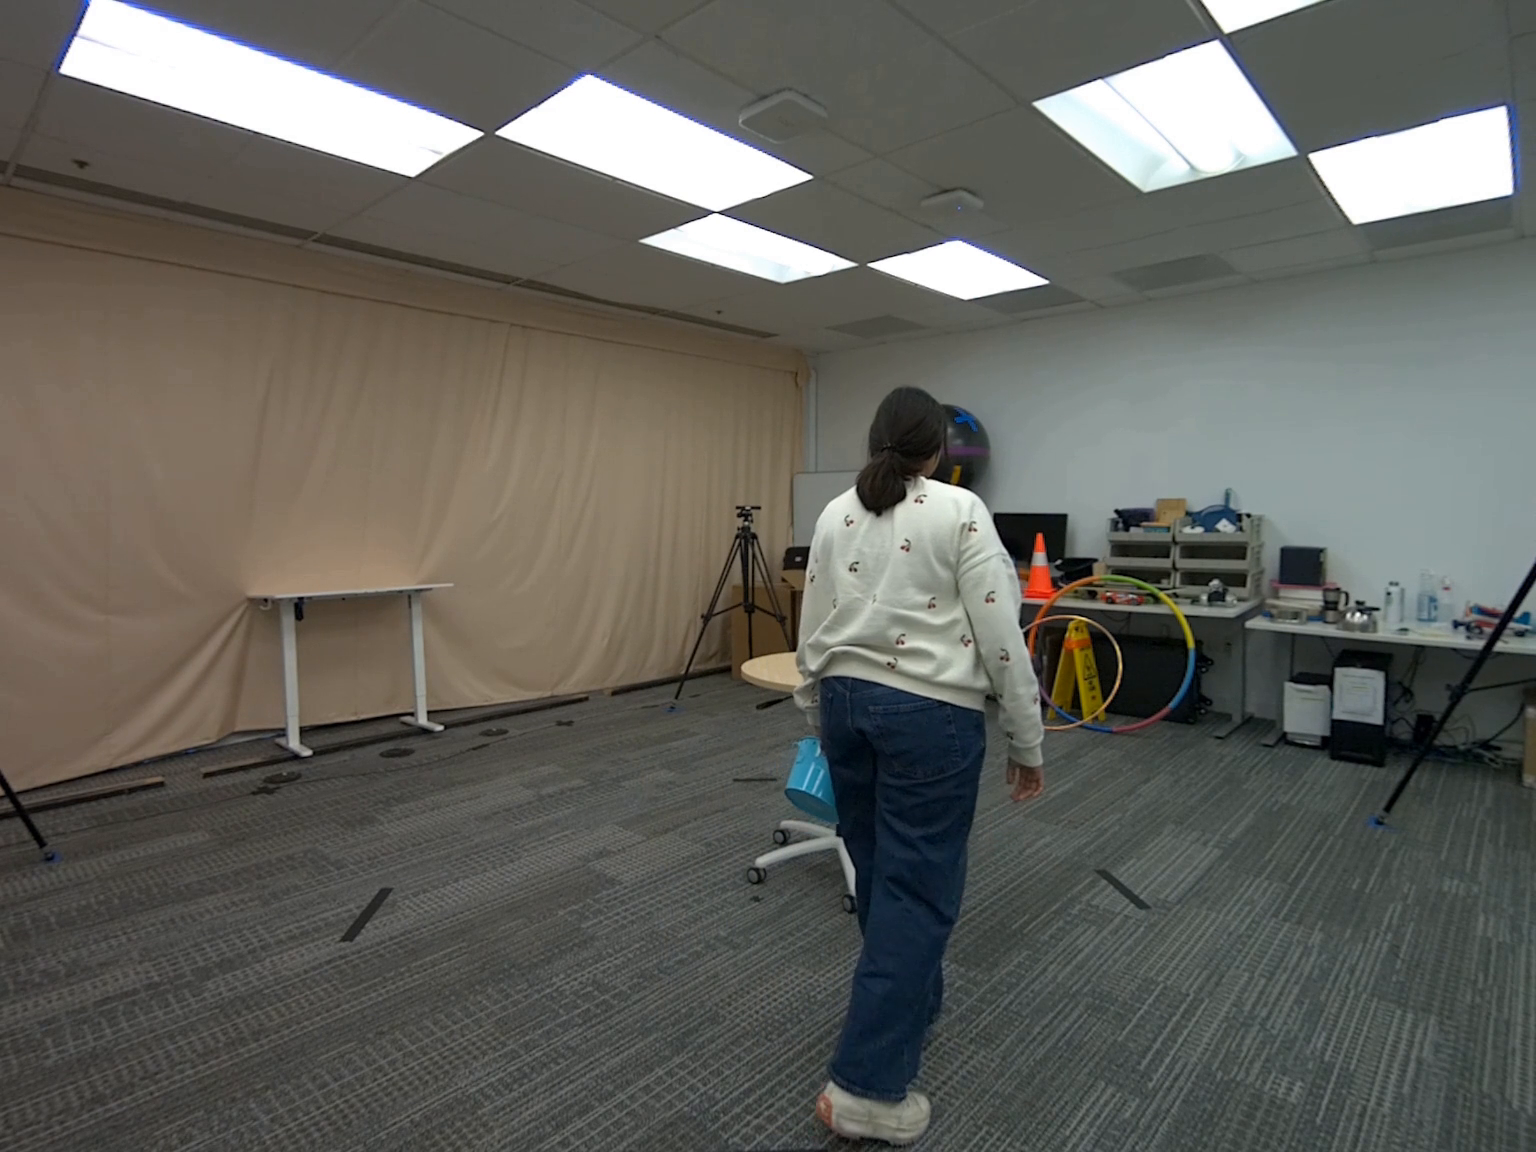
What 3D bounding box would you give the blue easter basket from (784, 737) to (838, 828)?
[{"bbox_3d":[0.166,0.592,2.400,0.248,0.155,0.240,25,-29,13],"label":"blue easter basket"}]
